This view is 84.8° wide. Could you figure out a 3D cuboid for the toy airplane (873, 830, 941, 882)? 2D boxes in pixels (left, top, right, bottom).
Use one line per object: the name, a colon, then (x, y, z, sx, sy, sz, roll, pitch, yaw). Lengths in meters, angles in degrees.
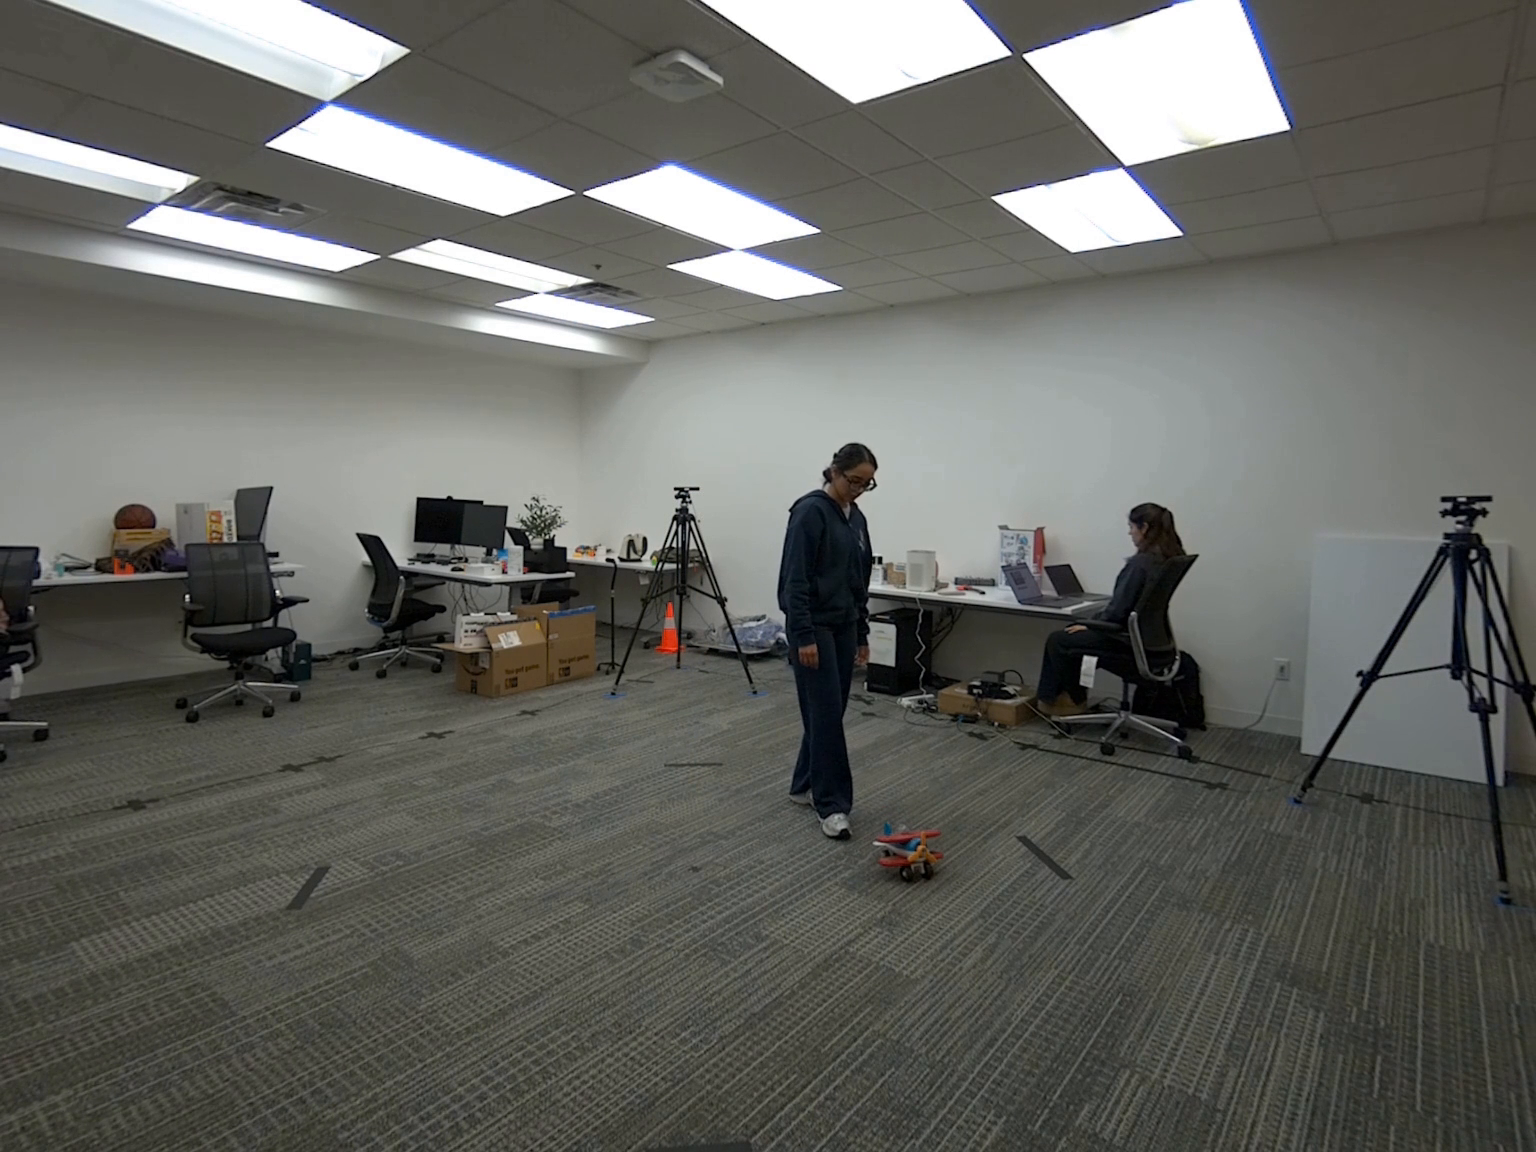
toy airplane: (0.478, 1.002, 3.131, 0.268, 0.156, 0.244, 8, 8, 38)
